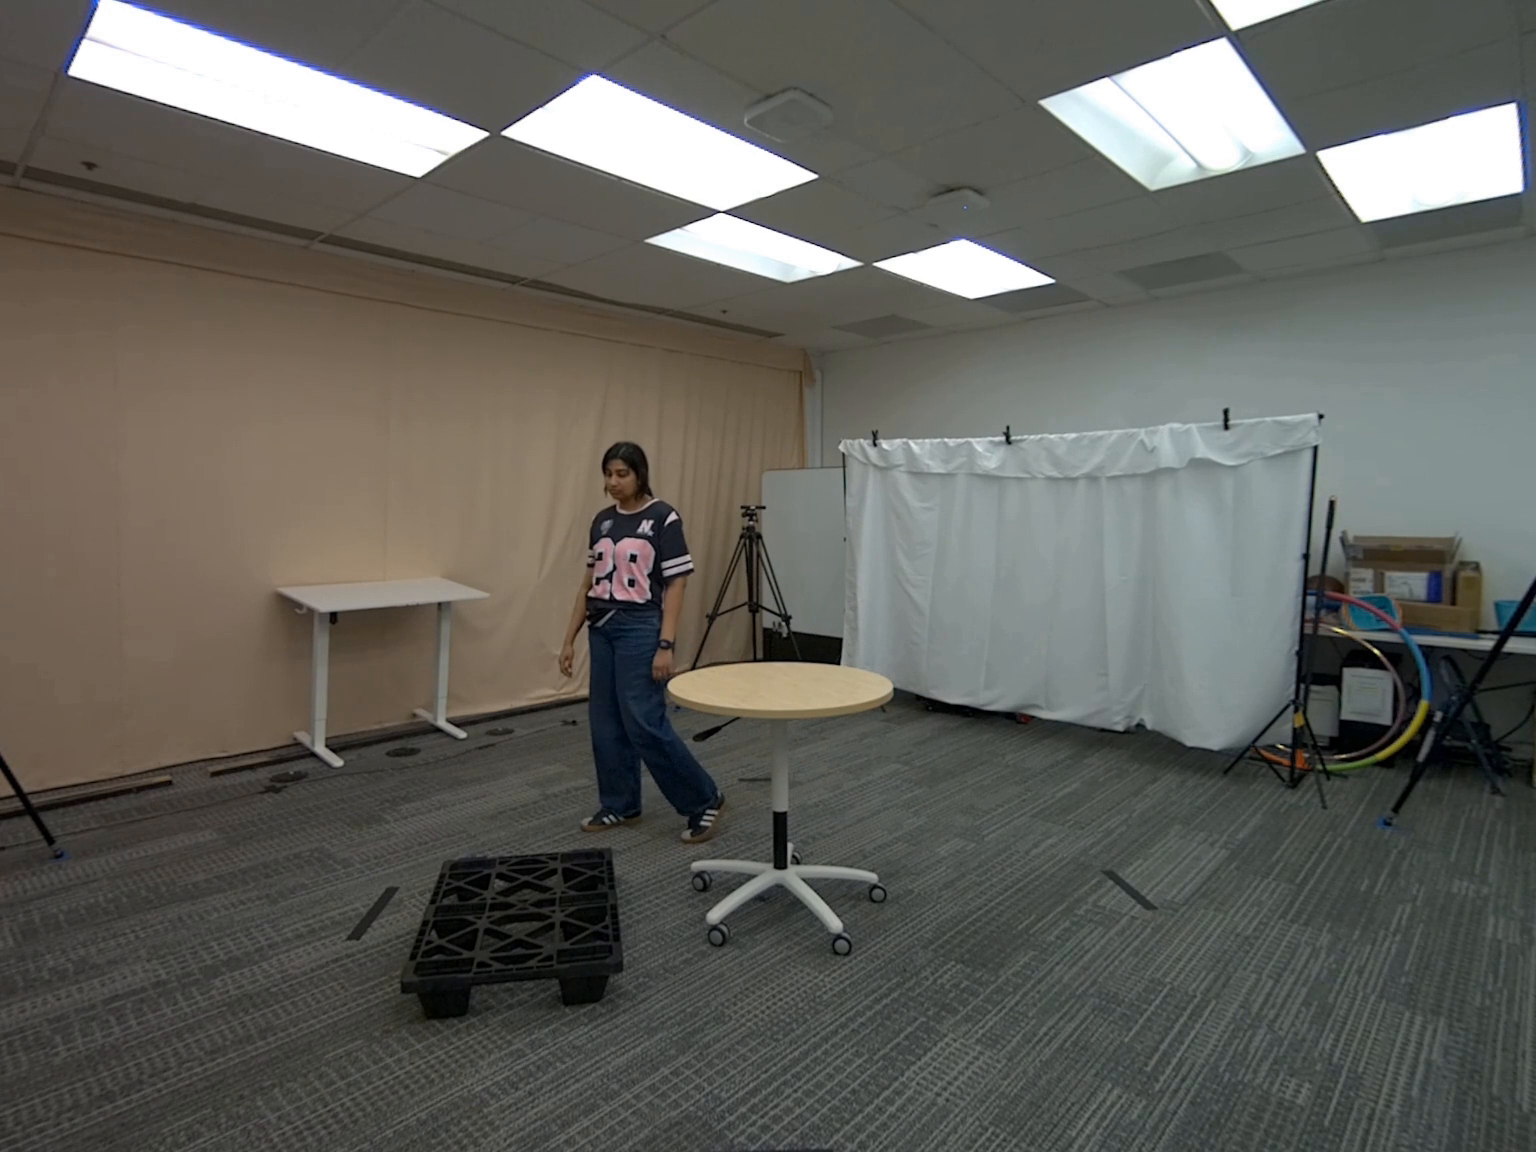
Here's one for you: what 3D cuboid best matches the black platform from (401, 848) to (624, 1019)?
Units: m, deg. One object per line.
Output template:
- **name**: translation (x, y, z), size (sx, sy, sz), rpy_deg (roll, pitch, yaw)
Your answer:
- **black platform**: translation (-0.775, 1.103, 2.686), size (0.598, 0.143, 0.817), rpy_deg (-1, 5, -12)
